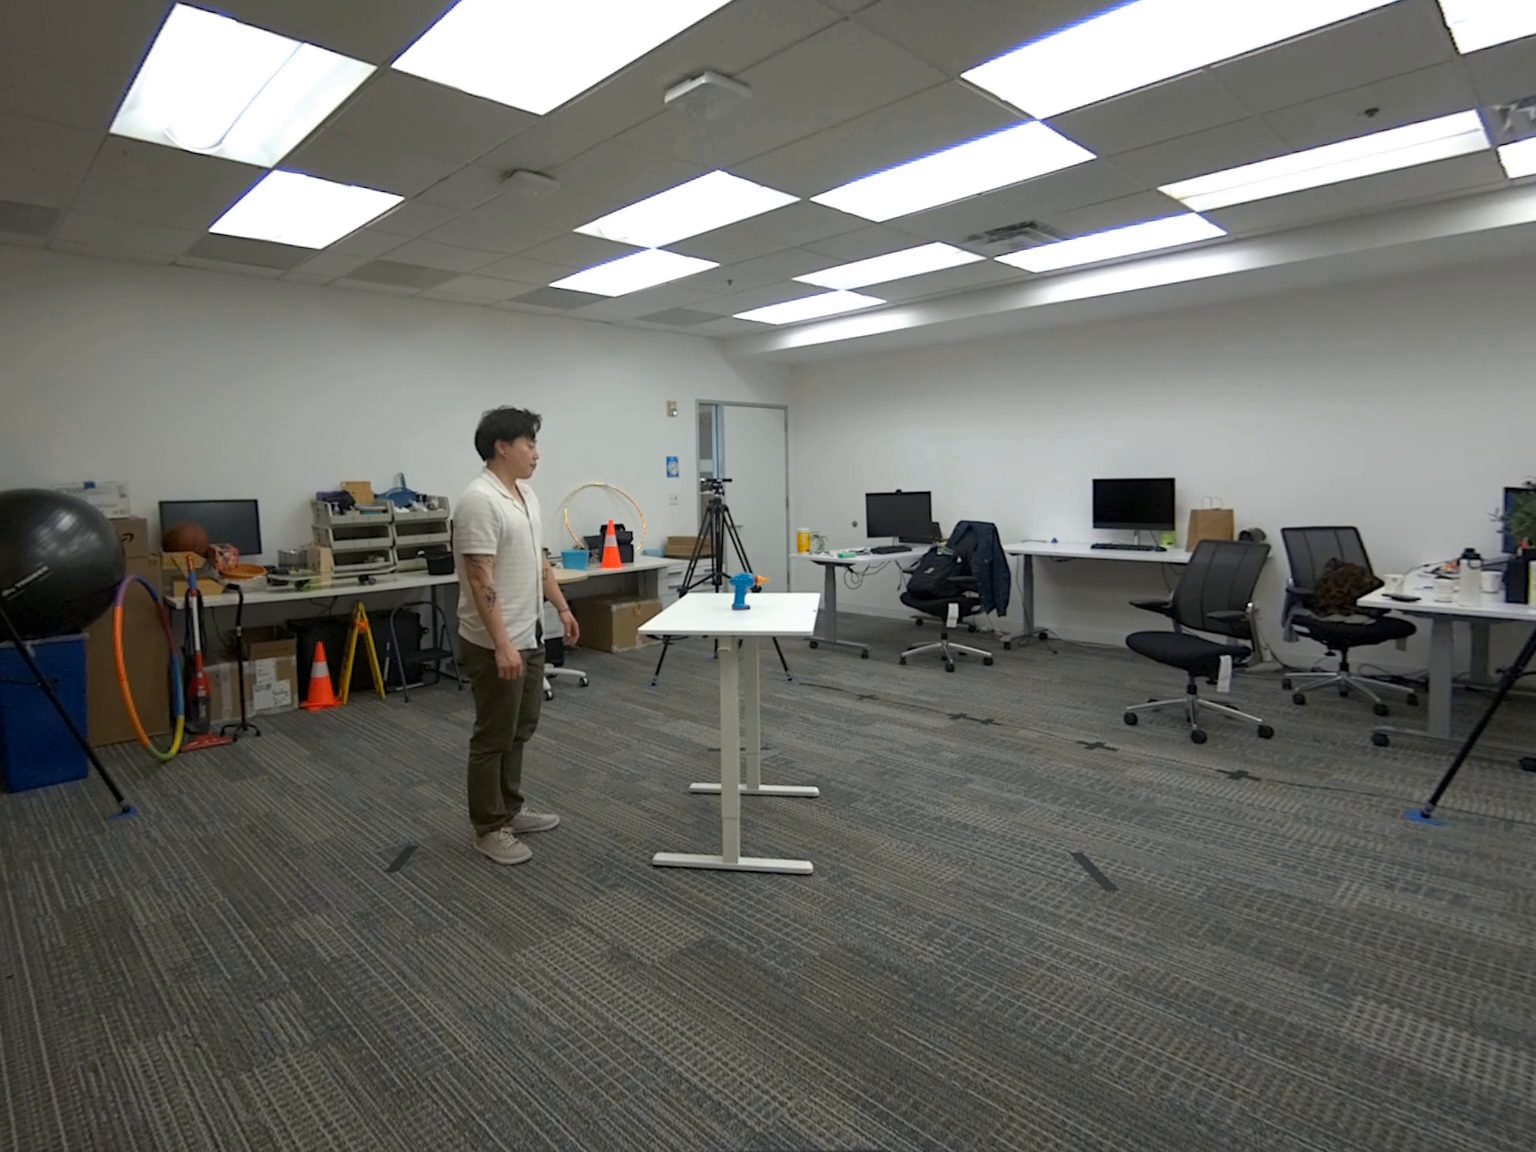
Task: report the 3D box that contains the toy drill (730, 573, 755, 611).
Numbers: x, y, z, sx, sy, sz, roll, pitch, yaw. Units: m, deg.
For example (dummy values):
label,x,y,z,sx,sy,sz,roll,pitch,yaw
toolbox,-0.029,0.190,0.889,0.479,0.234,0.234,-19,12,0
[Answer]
label,x,y,z,sx,sy,sz,roll,pitch,yaw
toy drill,-0.083,0.058,3.395,0.167,0.146,0.062,-2,2,-15
